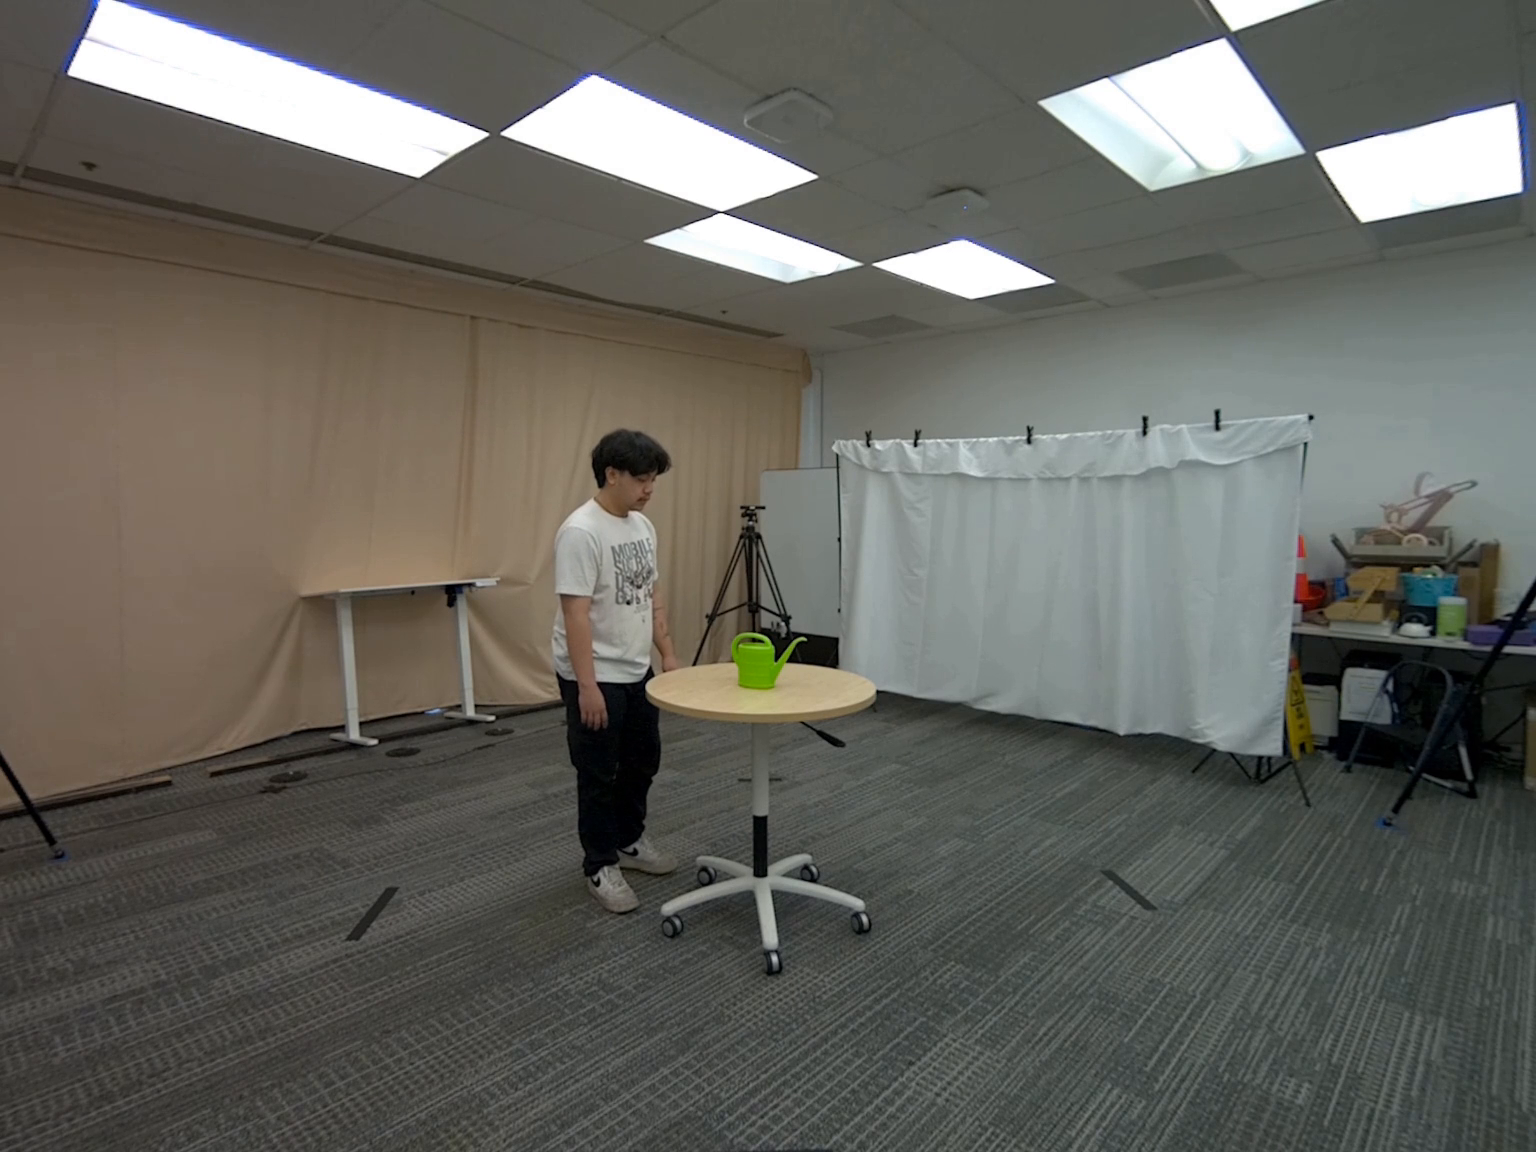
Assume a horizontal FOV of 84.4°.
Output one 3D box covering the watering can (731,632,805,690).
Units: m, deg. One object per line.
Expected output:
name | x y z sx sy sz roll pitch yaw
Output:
watering can | -0.002 0.285 2.754 0.287 0.176 0.095 1 5 42
